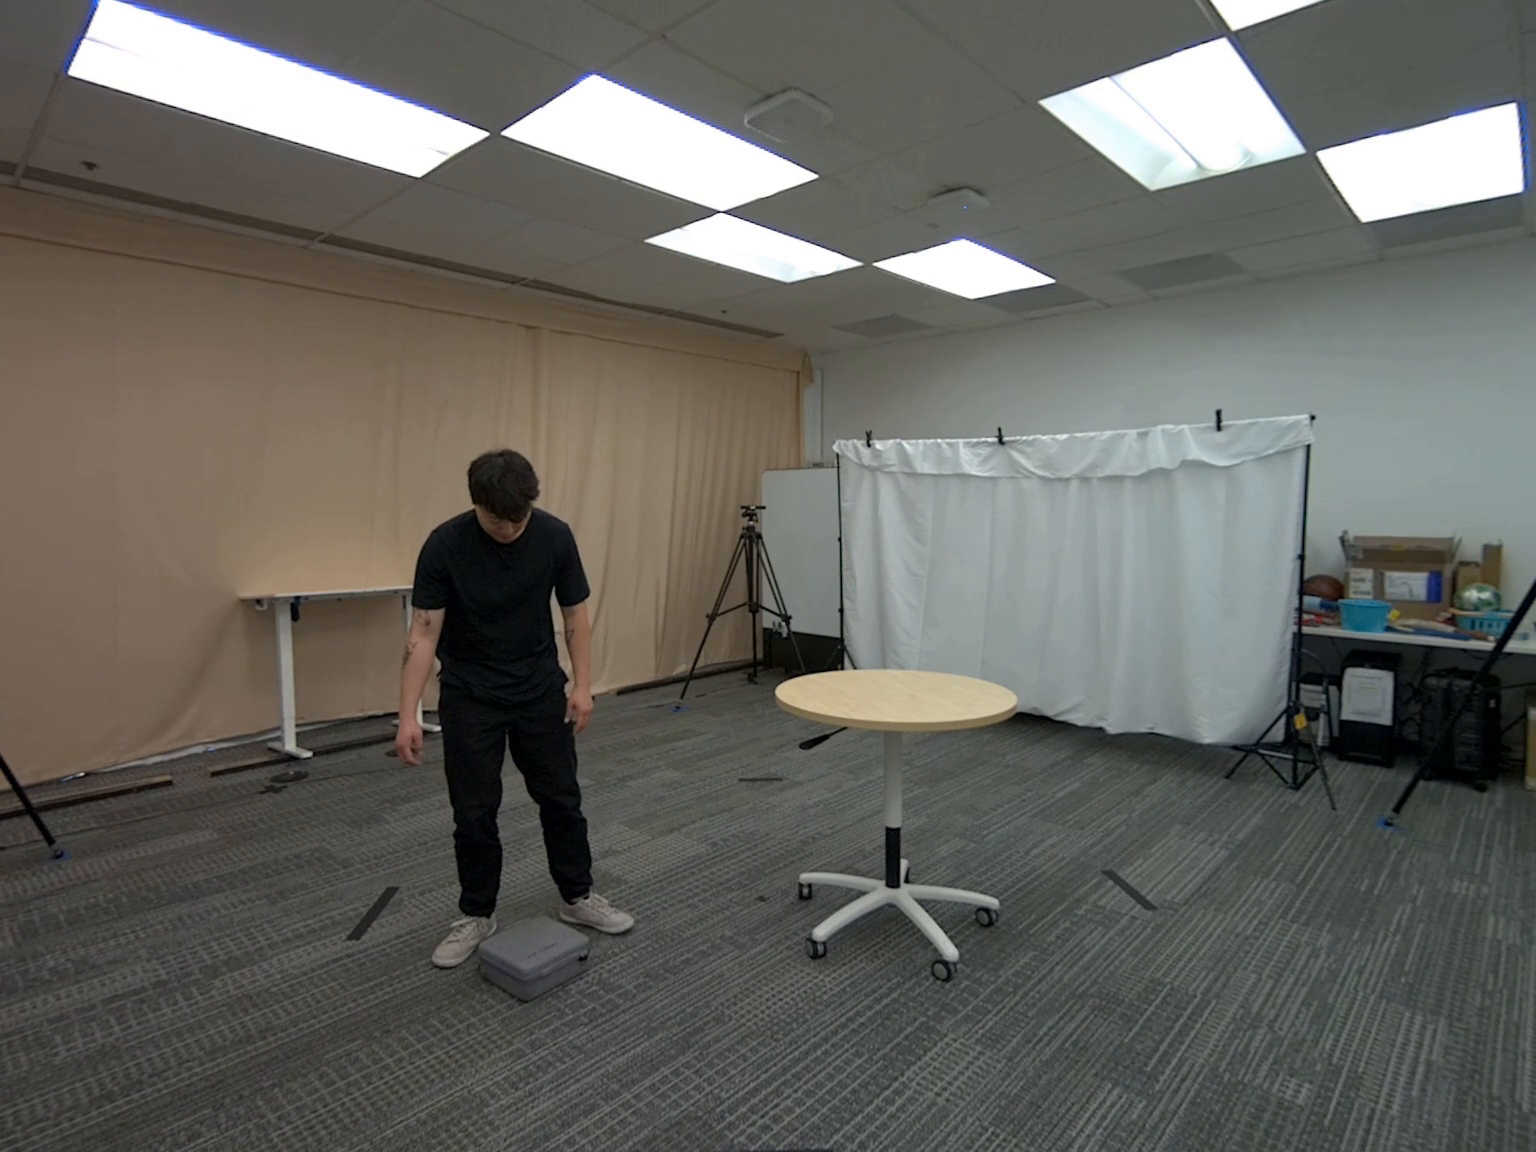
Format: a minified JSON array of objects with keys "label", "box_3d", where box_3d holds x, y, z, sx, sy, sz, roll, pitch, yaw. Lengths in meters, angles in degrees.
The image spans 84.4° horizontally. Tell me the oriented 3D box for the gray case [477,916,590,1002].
[{"label":"gray case","box_3d":[-0.701,1.131,2.515,0.269,0.104,0.249,3,6,39]}]
